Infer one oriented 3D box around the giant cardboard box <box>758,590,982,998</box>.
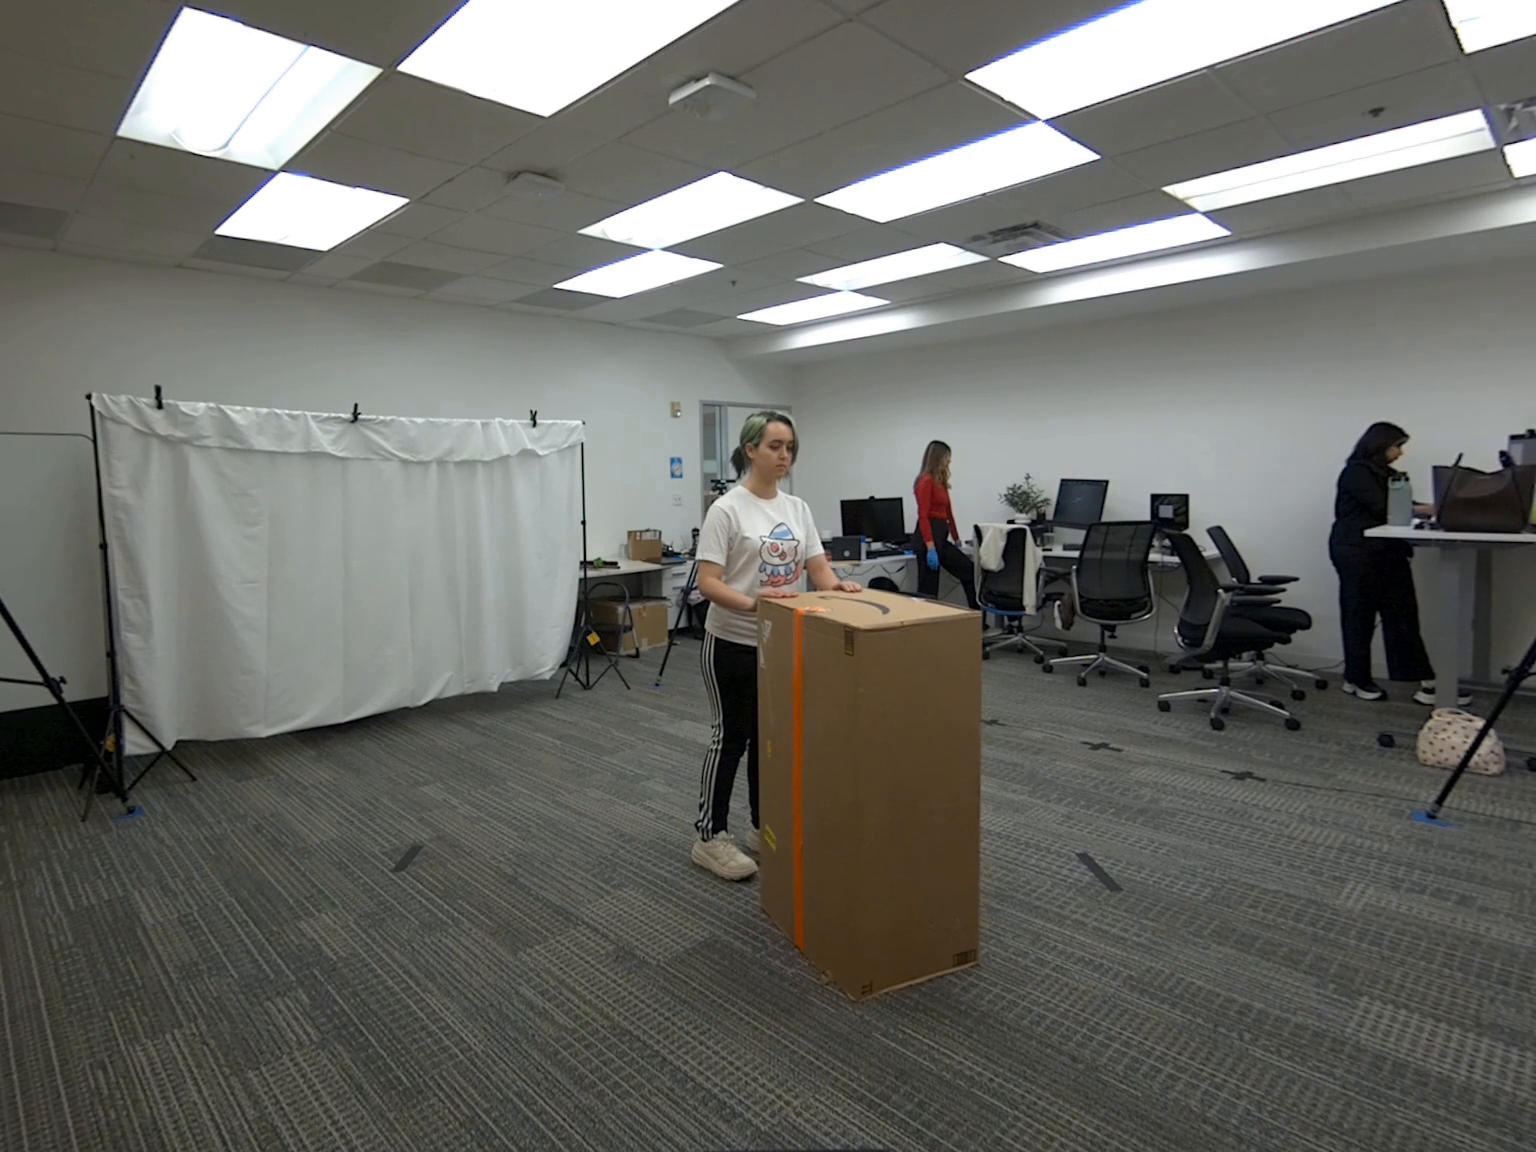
[{"bbox_3d":[0.289,0.592,2.577,0.437,1.023,0.599,-2,5,-27],"label":"giant cardboard box"}]
